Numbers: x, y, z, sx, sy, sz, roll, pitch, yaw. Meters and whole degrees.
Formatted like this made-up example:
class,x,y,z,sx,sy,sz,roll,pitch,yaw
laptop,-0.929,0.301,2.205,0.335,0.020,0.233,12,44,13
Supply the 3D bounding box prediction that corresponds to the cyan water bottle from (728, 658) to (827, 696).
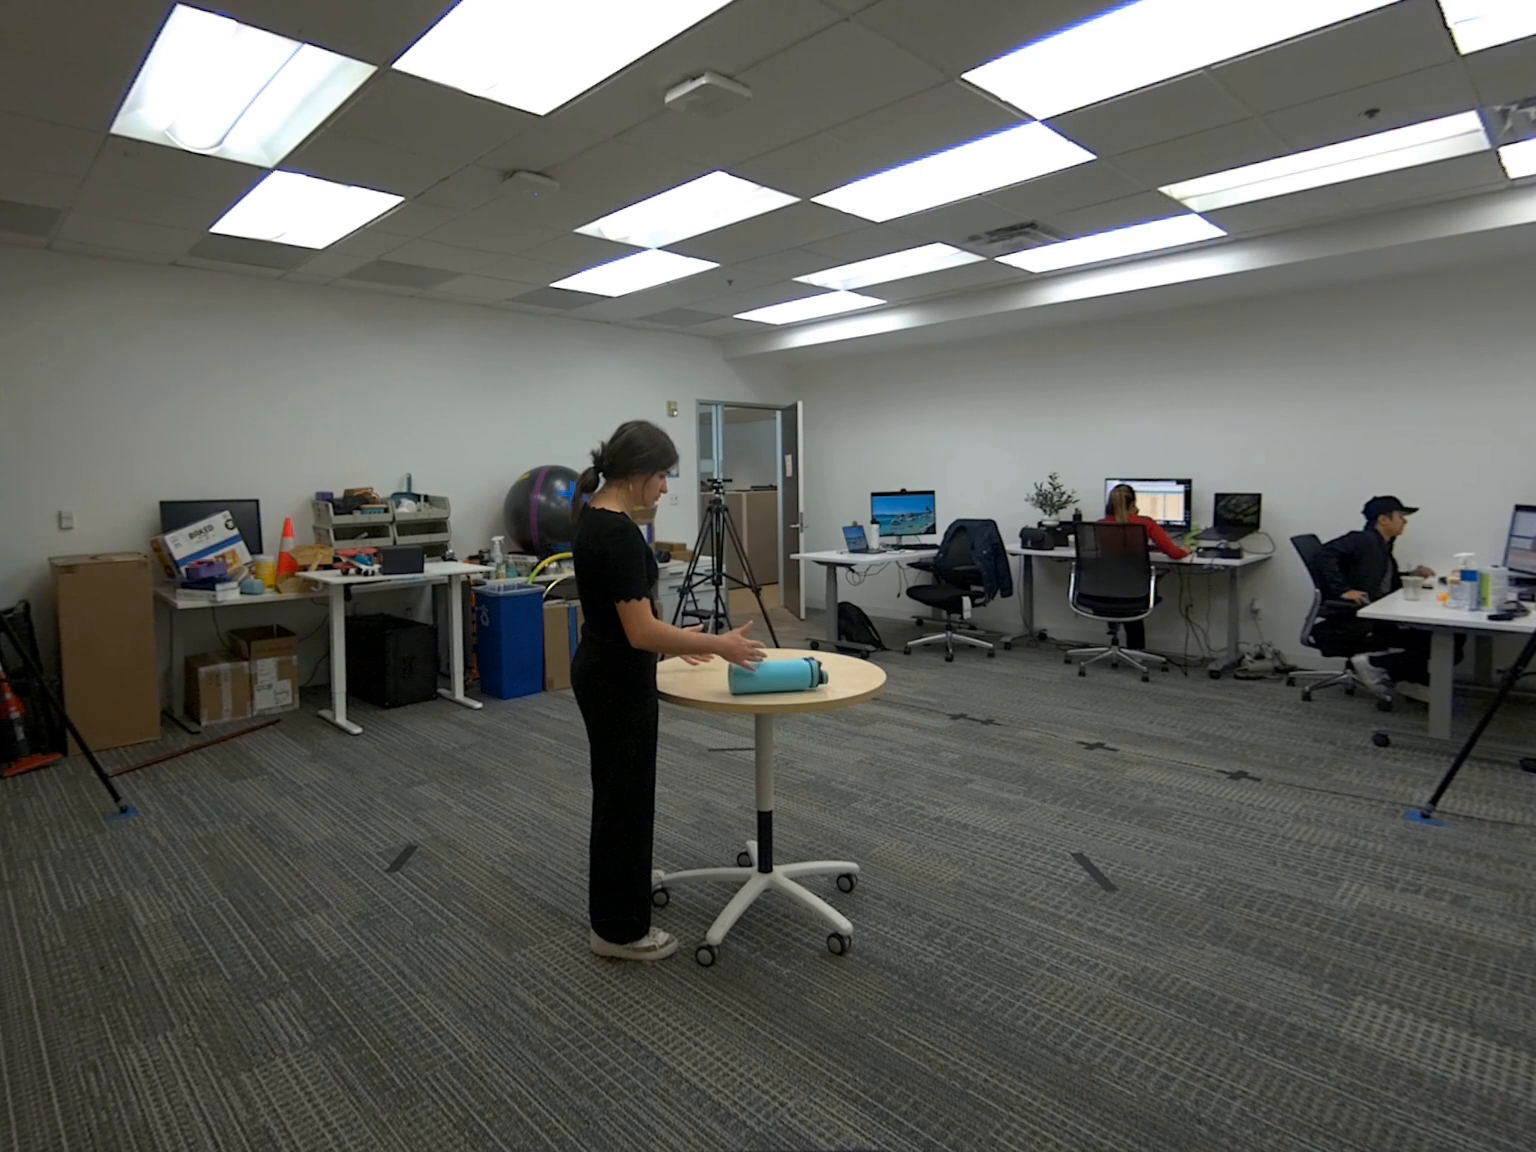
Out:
class,x,y,z,sx,sy,sz,roll,pitch,yaw
cyan water bottle,0.032,0.286,2.470,0.281,0.092,0.093,-4,5,-9
